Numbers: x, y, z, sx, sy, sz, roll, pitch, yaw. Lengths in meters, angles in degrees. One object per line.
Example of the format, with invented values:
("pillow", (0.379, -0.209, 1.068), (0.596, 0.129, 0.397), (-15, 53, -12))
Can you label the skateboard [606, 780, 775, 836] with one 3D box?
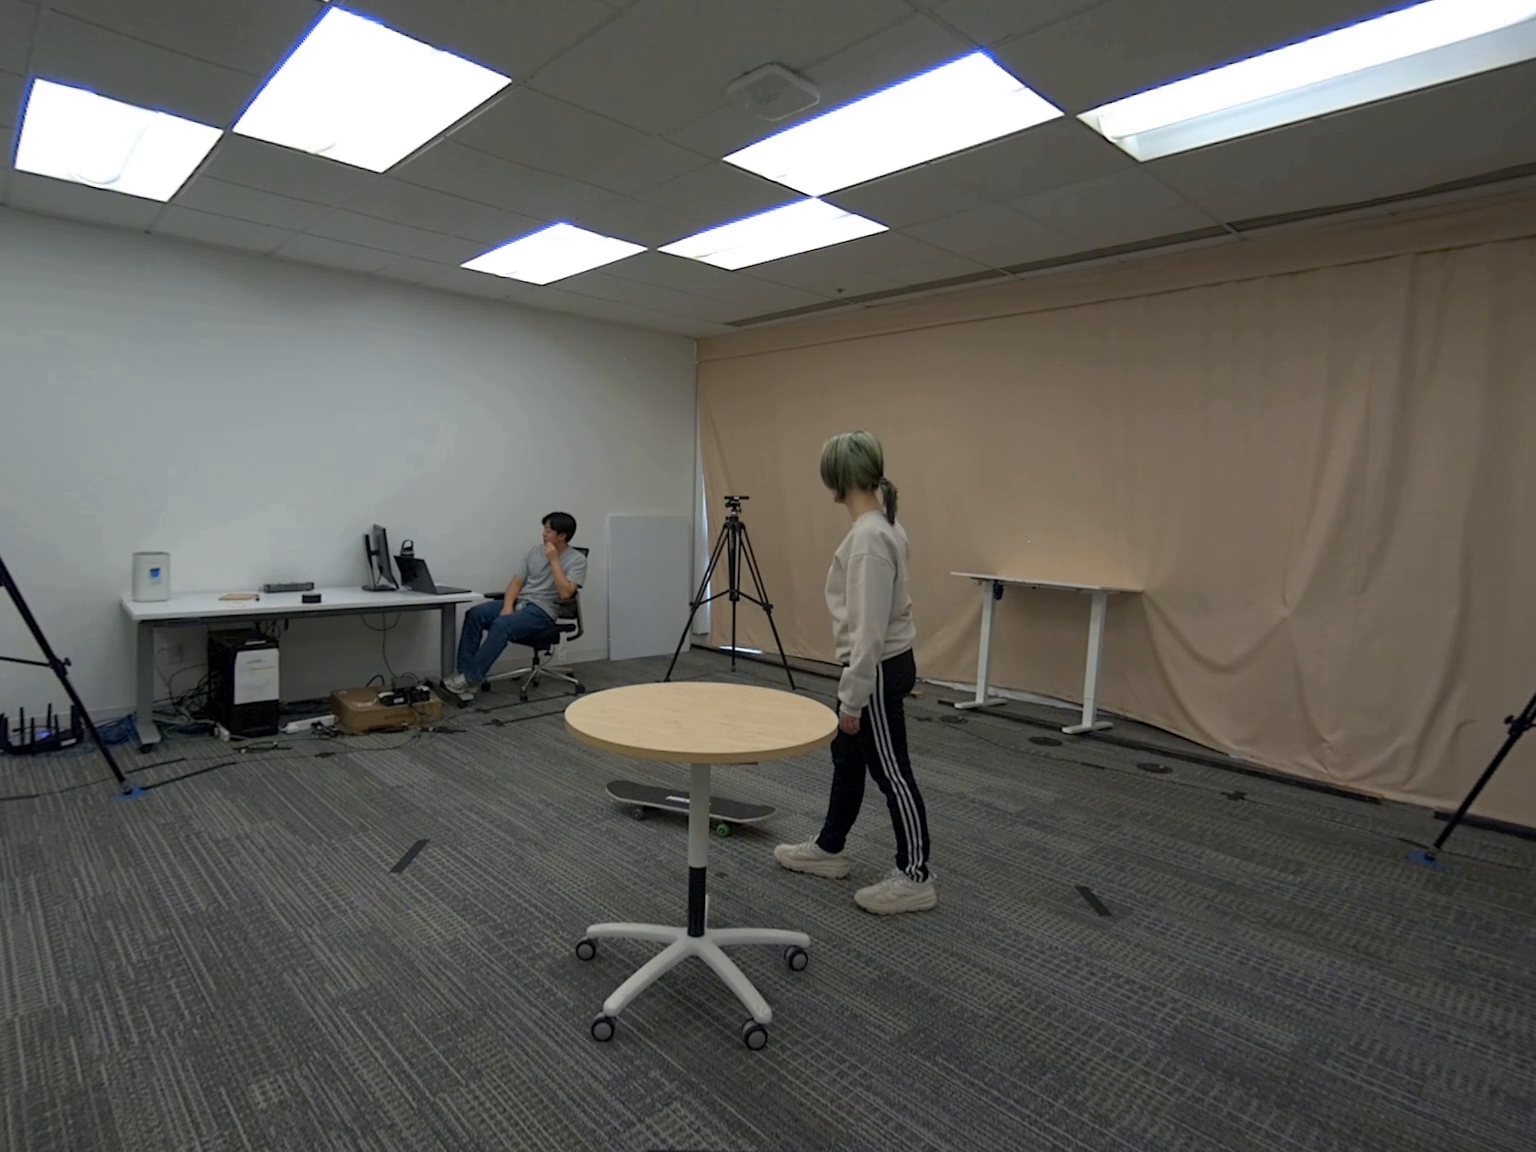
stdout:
("skateboard", (-0.355, 0.997, 3.615), (0.799, 0.110, 0.190), (4, 5, 23))
